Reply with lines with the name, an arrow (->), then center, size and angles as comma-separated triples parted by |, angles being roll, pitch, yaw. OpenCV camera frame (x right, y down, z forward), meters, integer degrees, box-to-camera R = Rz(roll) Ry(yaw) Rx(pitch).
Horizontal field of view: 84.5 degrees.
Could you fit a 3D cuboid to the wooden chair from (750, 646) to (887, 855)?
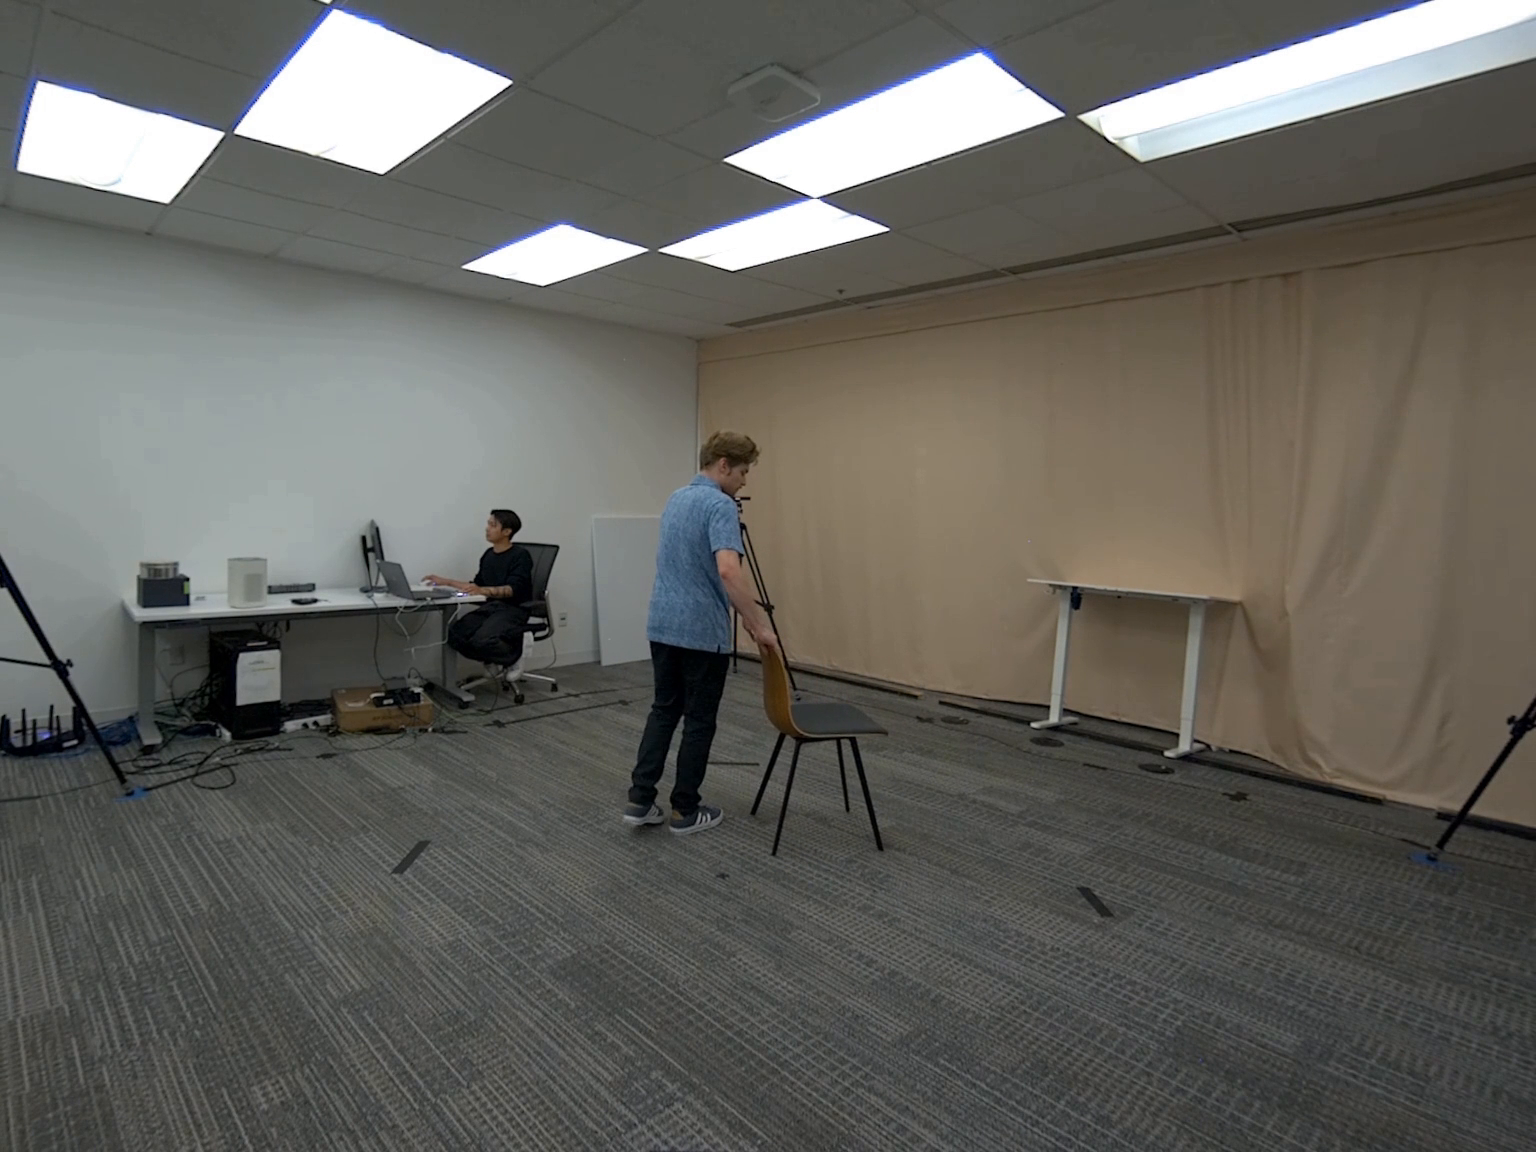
wooden chair -> 0.203, 0.648, 3.514 | 0.519, 0.875, 0.483 | -3, 4, -11
